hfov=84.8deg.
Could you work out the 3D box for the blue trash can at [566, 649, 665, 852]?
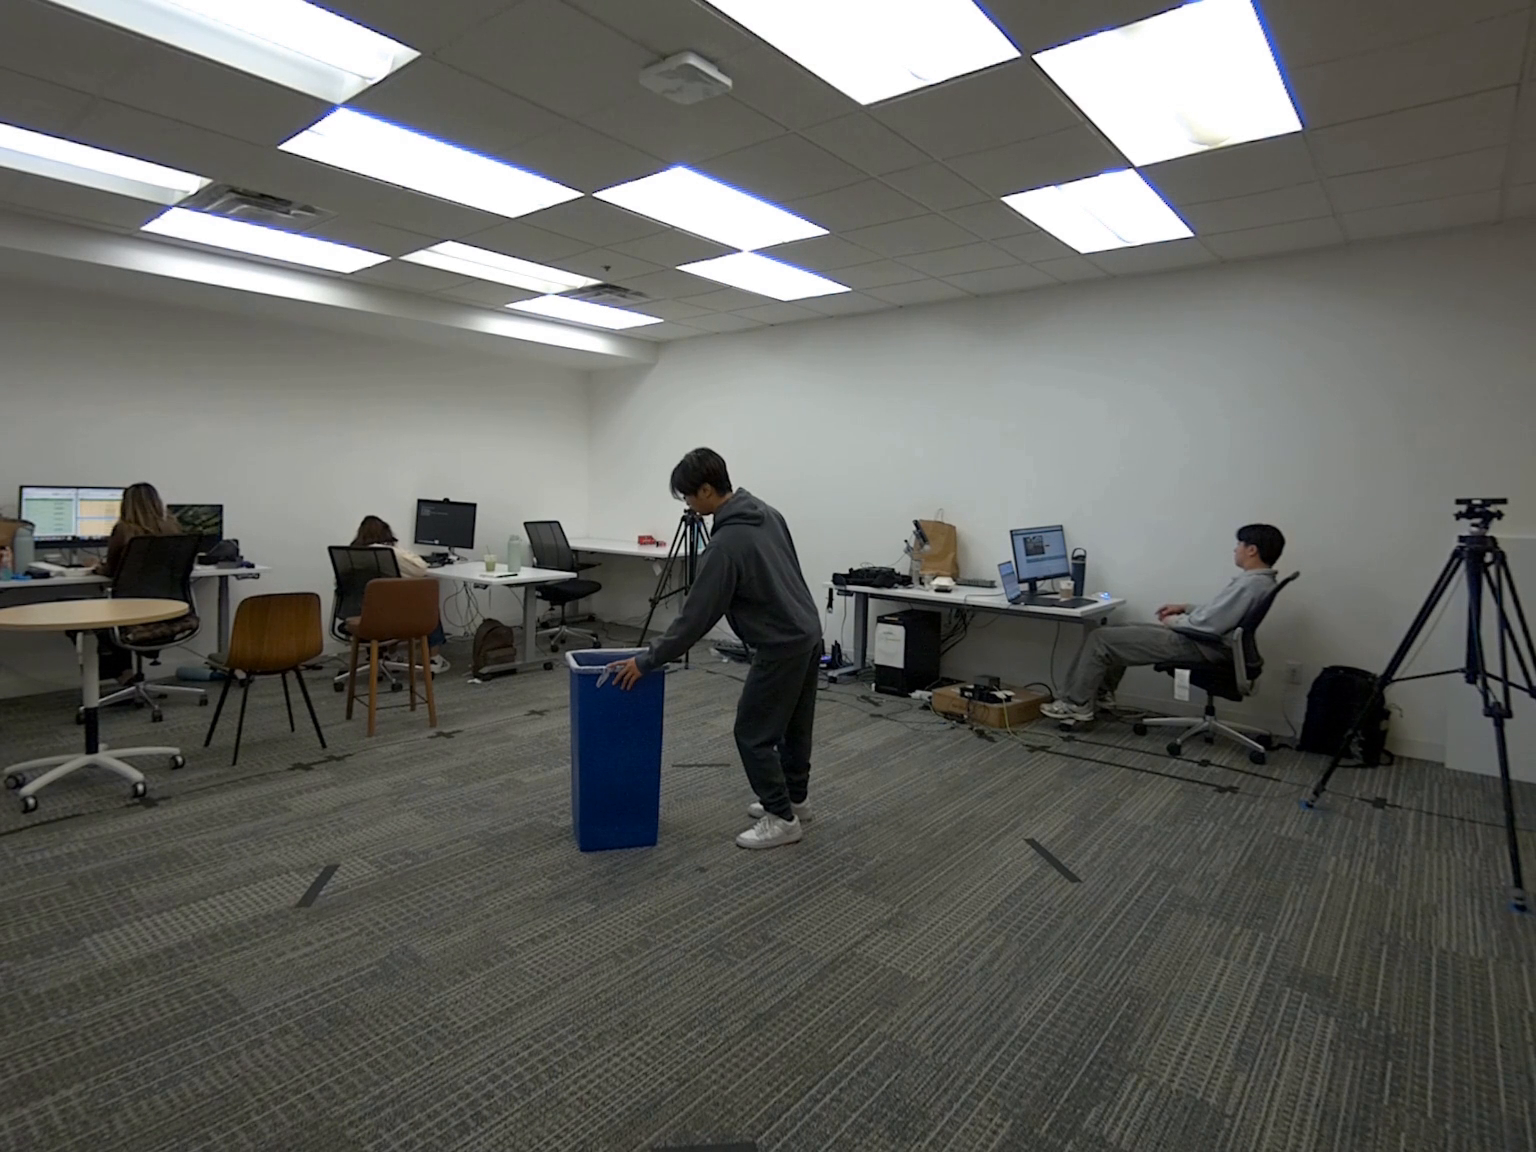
[{"bbox_3d":[-0.631,0.681,3.410,0.372,0.712,0.381,0,3,-17],"label":"blue trash can"}]
